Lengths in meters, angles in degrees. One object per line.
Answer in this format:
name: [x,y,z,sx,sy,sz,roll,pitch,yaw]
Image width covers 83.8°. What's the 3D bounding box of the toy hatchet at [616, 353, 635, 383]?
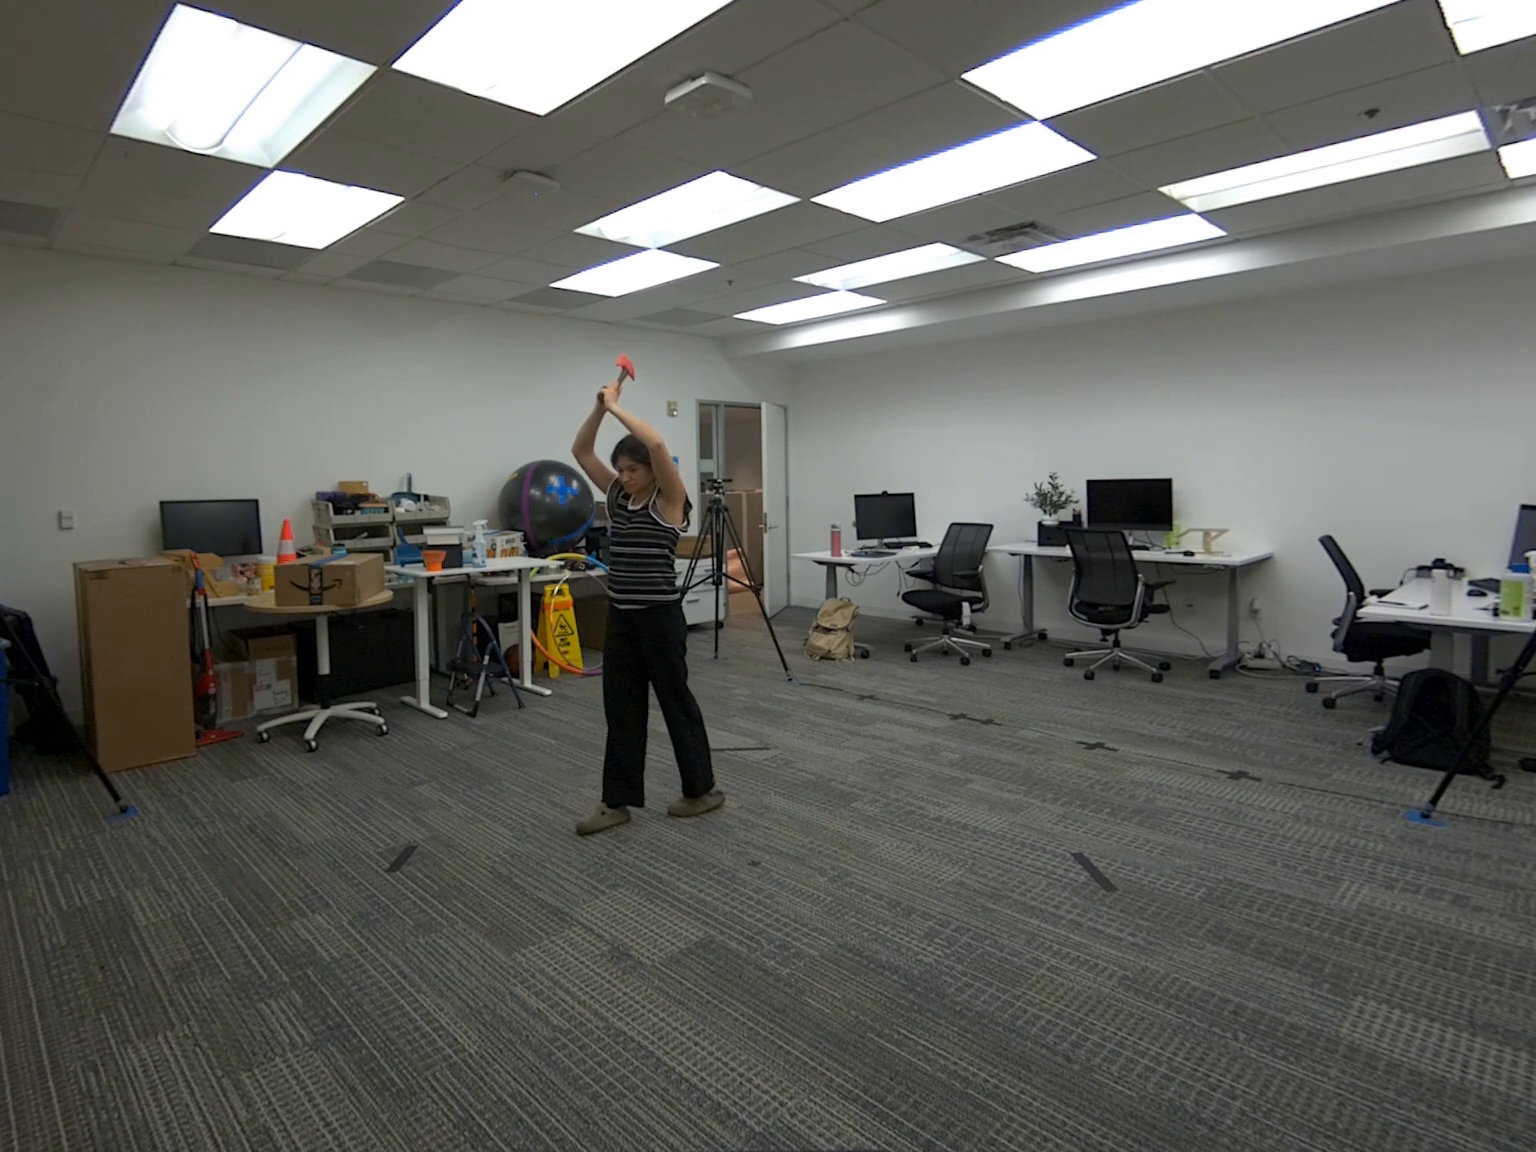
toy hatchet: [-0.597,-0.787,3.359,0.030,0.127,0.271,1,31,22]
